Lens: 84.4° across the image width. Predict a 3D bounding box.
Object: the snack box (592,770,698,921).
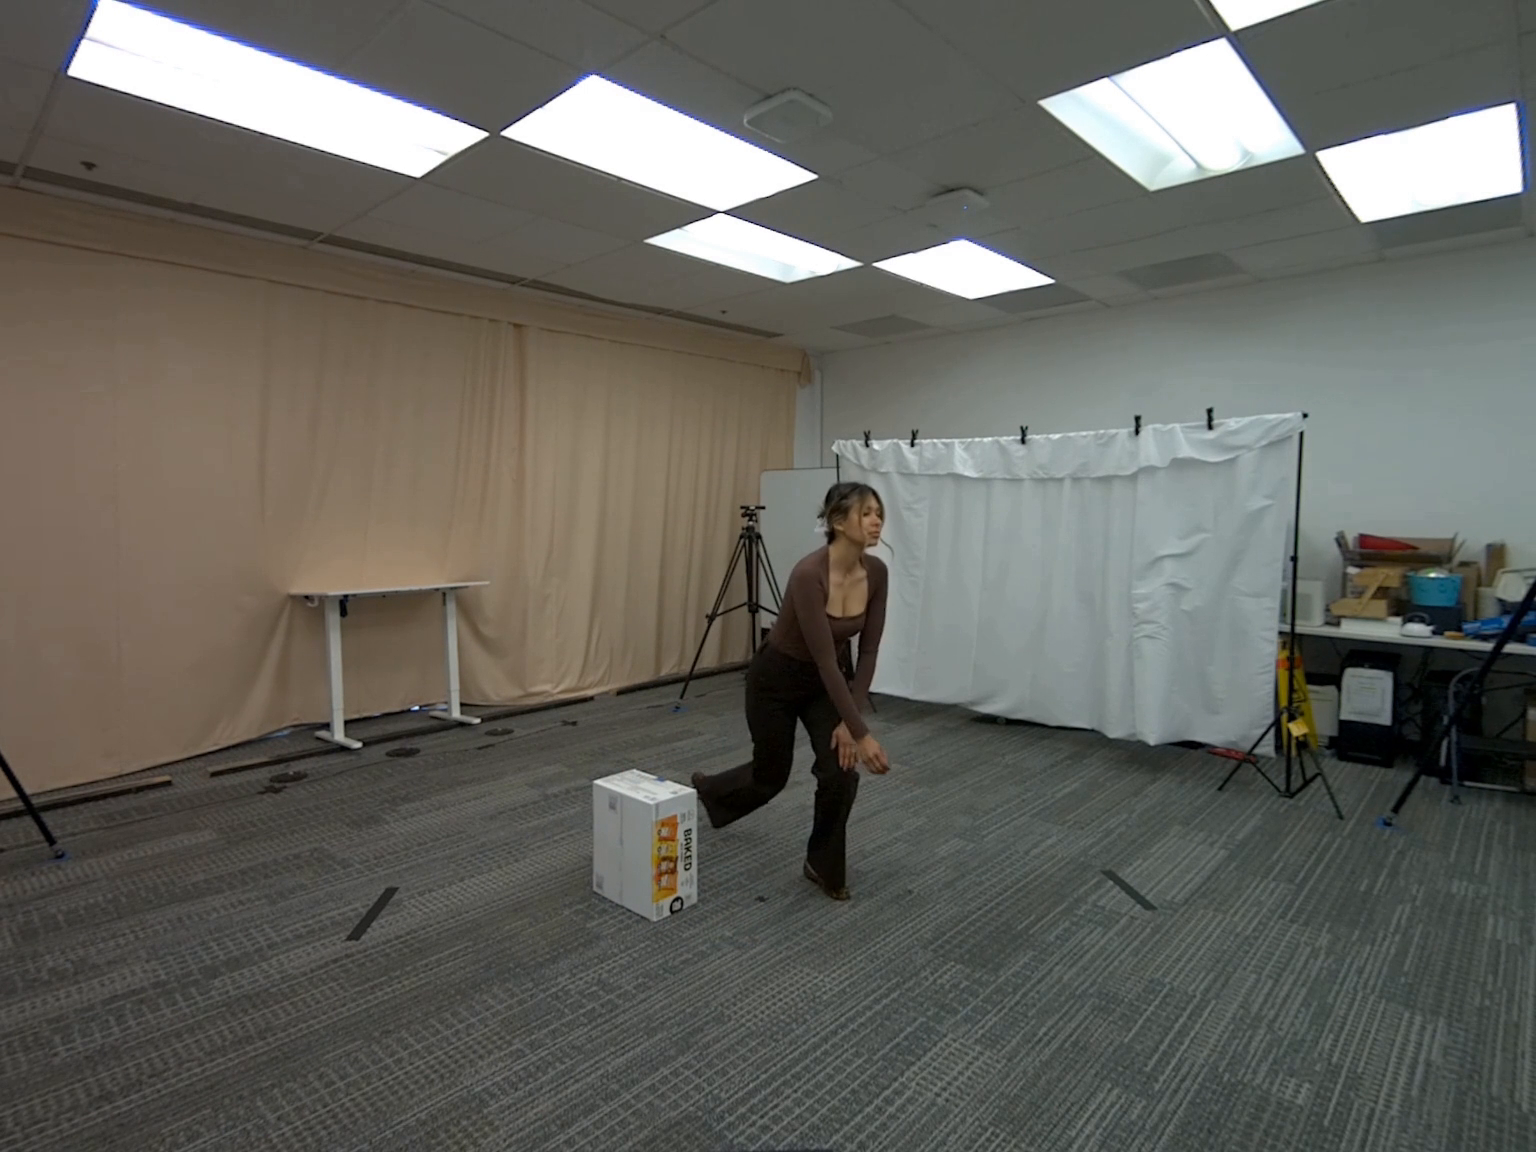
[{"bbox_3d":[-0.440,0.945,2.994,0.352,0.404,0.199,3,4,43],"label":"snack box"}]
